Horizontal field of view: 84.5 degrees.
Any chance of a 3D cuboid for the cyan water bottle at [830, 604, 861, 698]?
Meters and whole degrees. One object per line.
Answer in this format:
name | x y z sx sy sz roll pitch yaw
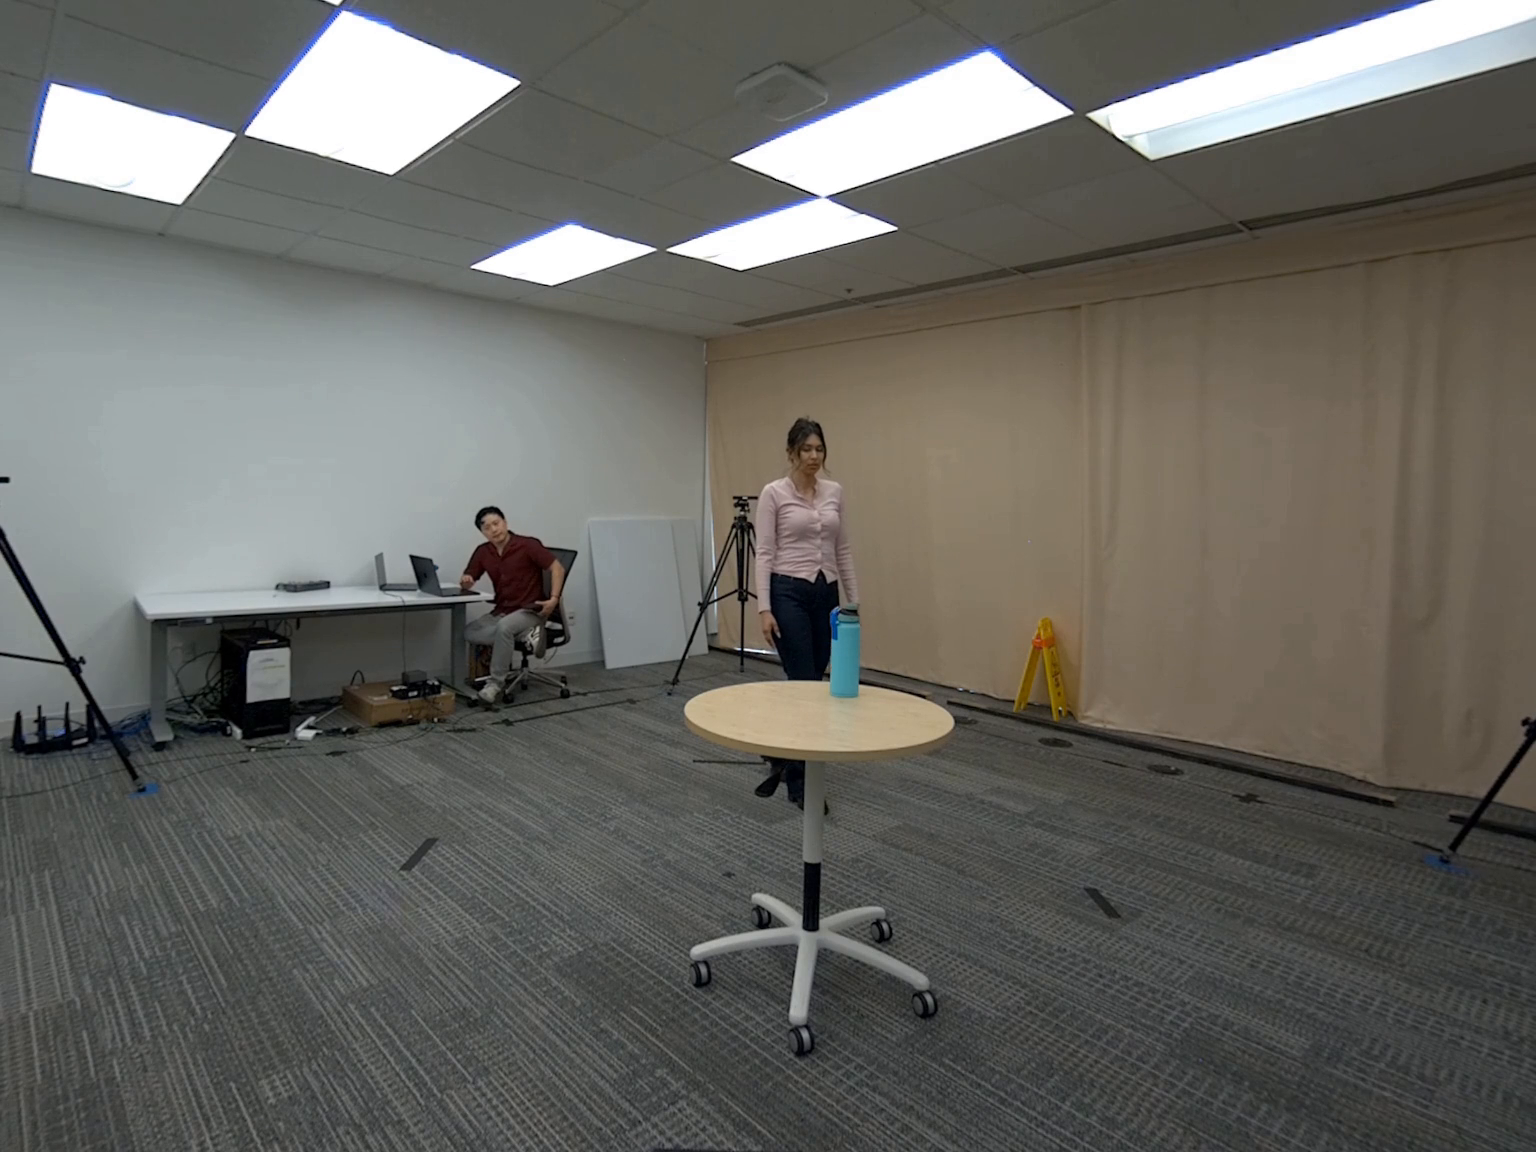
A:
cyan water bottle | 0.237 0.234 2.615 0.092 0.283 0.092 3 3 -2
